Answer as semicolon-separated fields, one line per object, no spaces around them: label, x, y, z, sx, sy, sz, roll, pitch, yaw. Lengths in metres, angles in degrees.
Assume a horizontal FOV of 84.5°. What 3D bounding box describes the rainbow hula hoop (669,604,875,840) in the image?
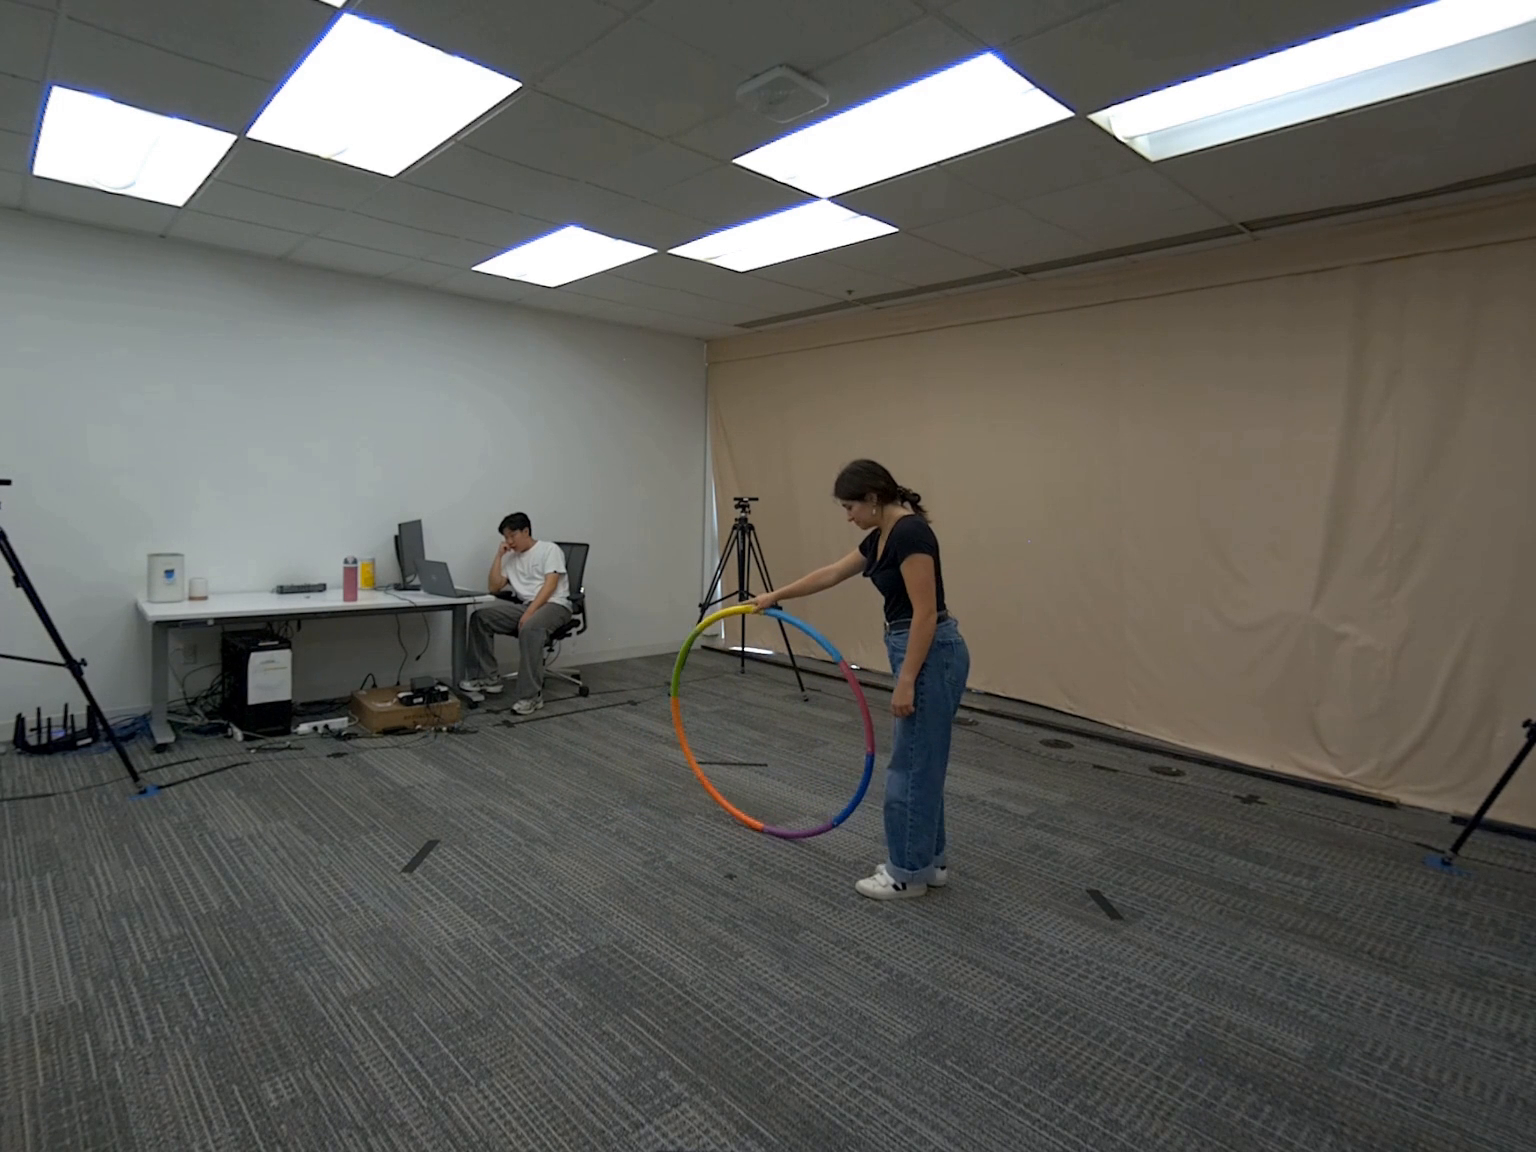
rainbow hula hoop;-0.024;0.604;3.436;1.002;0.971;0.035;4;12;36
